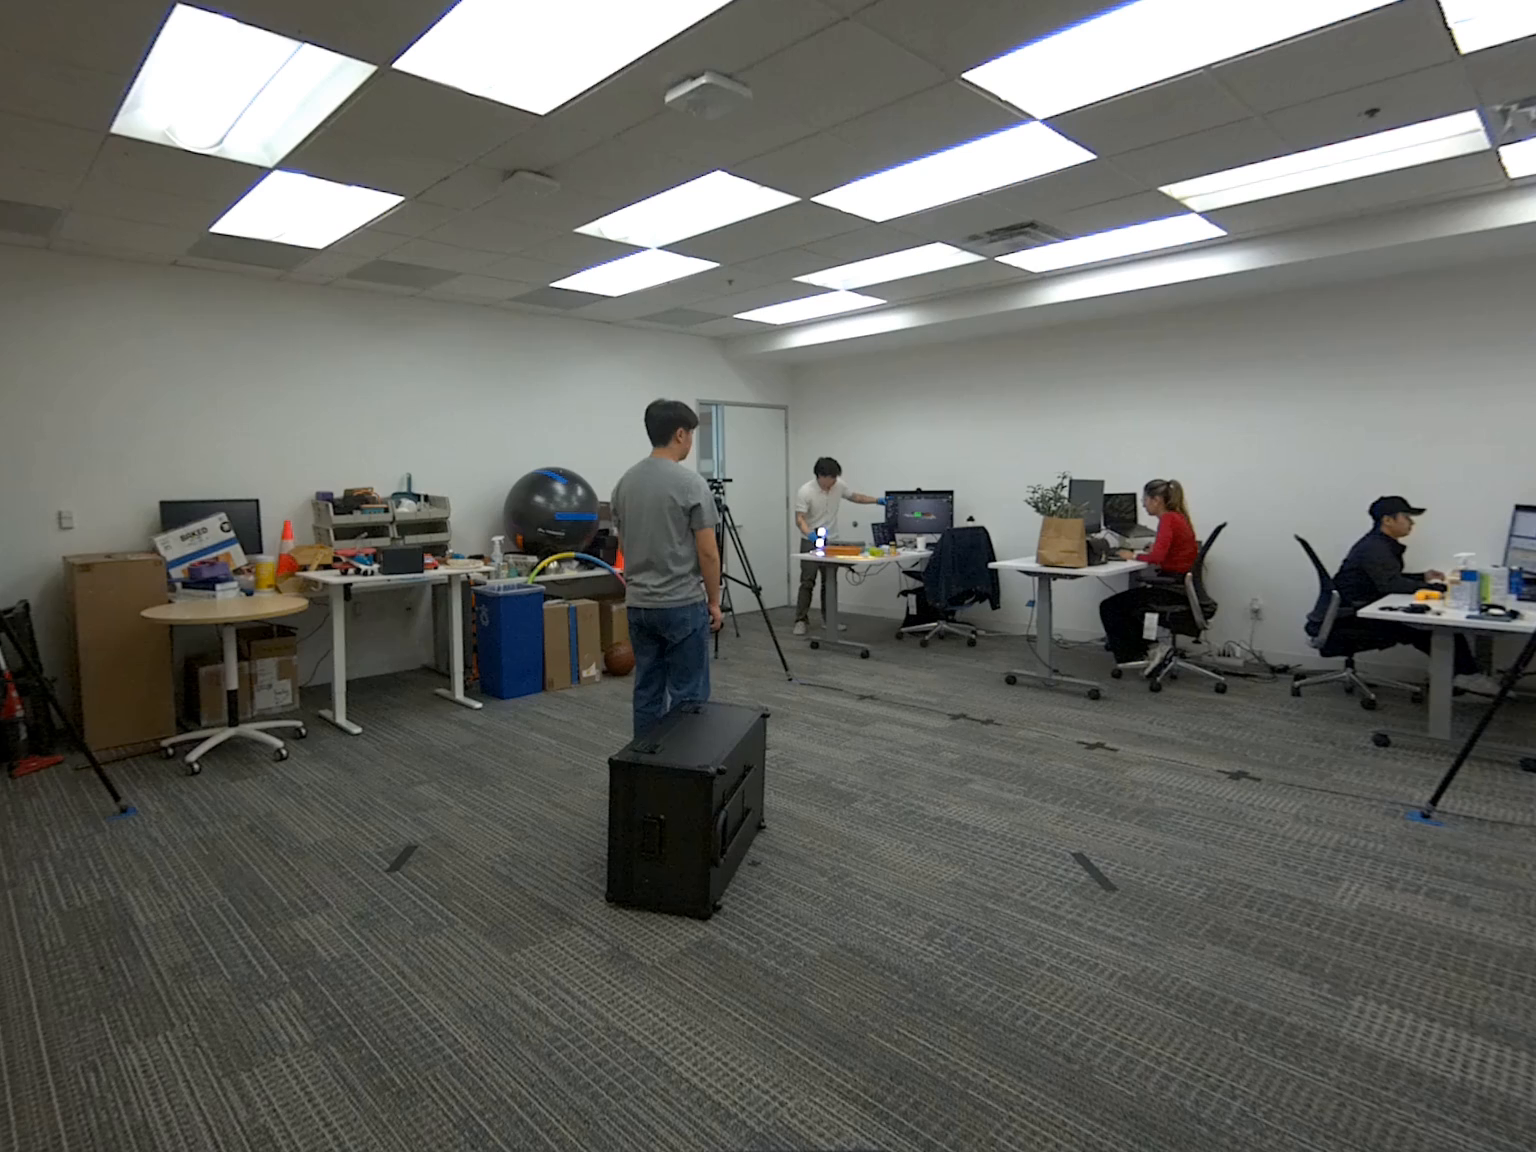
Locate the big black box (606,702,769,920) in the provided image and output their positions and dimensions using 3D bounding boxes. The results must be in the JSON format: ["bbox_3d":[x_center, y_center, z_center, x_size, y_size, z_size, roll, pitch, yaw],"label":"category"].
[{"bbox_3d":[-0.243,0.785,3.139,0.402,0.519,0.853,5,6,12],"label":"big black box"}]
